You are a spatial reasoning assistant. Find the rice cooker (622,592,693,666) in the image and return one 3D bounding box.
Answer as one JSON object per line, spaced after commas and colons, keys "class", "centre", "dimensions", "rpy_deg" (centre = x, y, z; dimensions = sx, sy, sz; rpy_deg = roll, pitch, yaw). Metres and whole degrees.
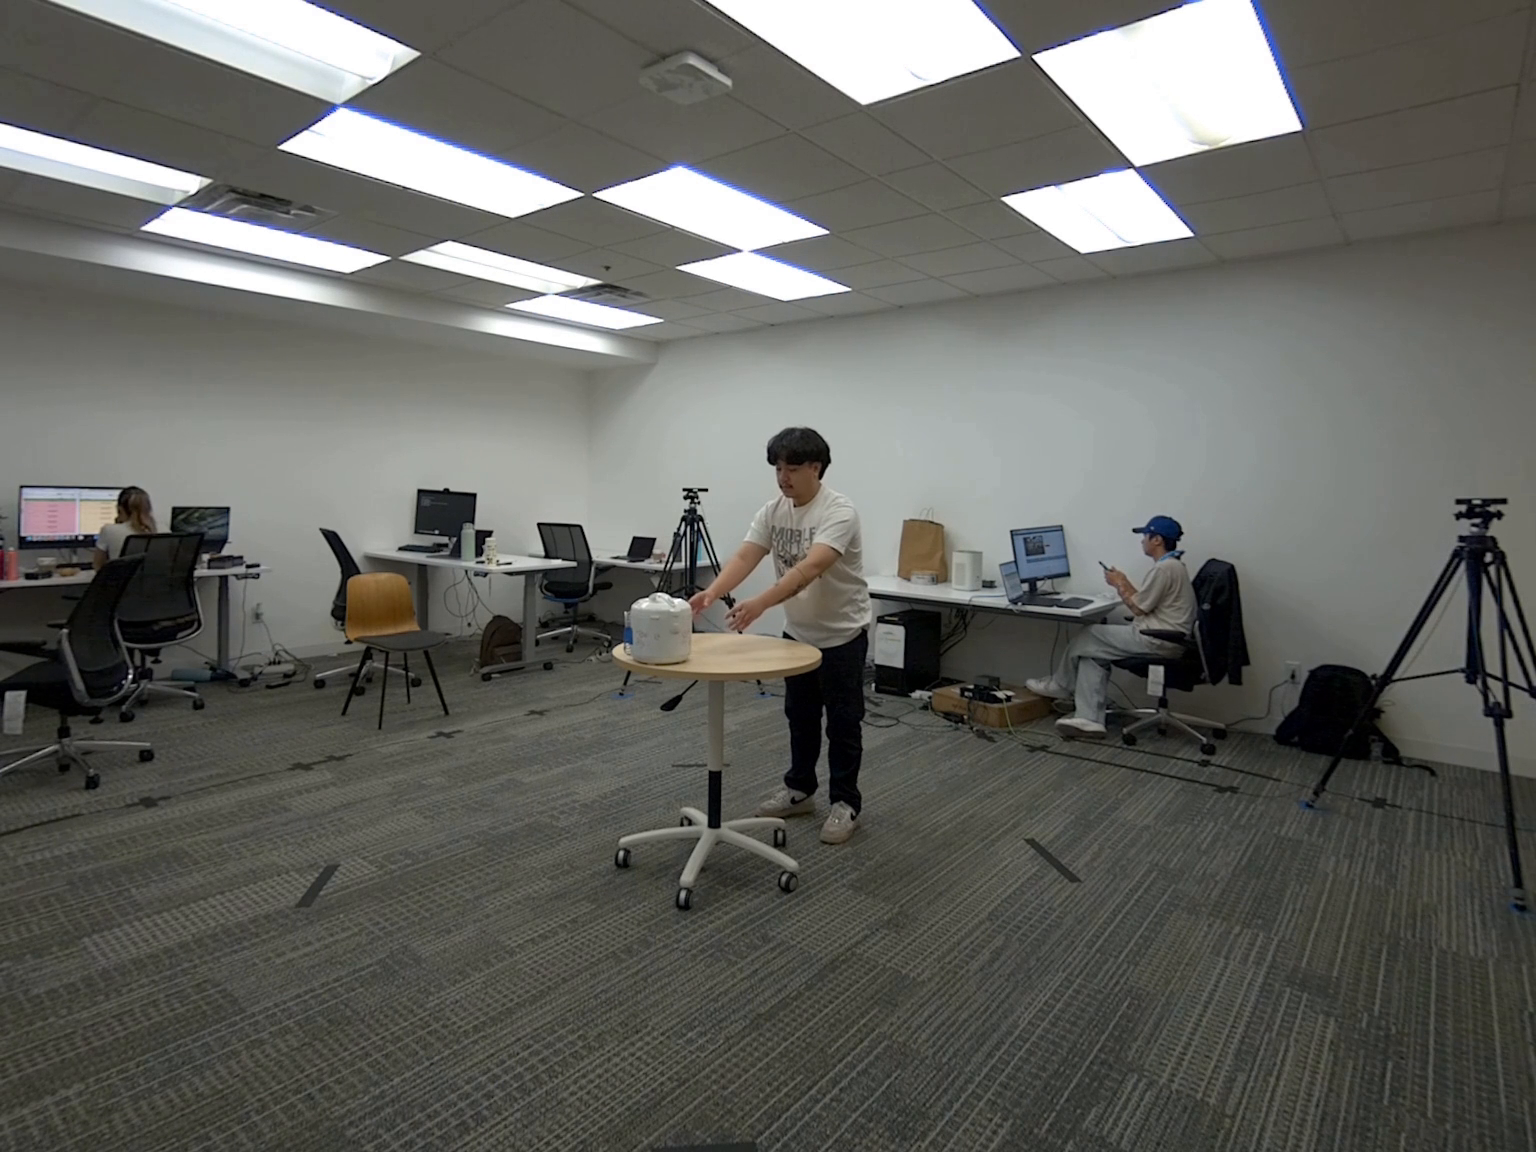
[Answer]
{"class": "rice cooker", "centre": [-0.377, 0.172, 2.932], "dimensions": [0.212, 0.232, 0.227], "rpy_deg": [-3, 6, -31]}
